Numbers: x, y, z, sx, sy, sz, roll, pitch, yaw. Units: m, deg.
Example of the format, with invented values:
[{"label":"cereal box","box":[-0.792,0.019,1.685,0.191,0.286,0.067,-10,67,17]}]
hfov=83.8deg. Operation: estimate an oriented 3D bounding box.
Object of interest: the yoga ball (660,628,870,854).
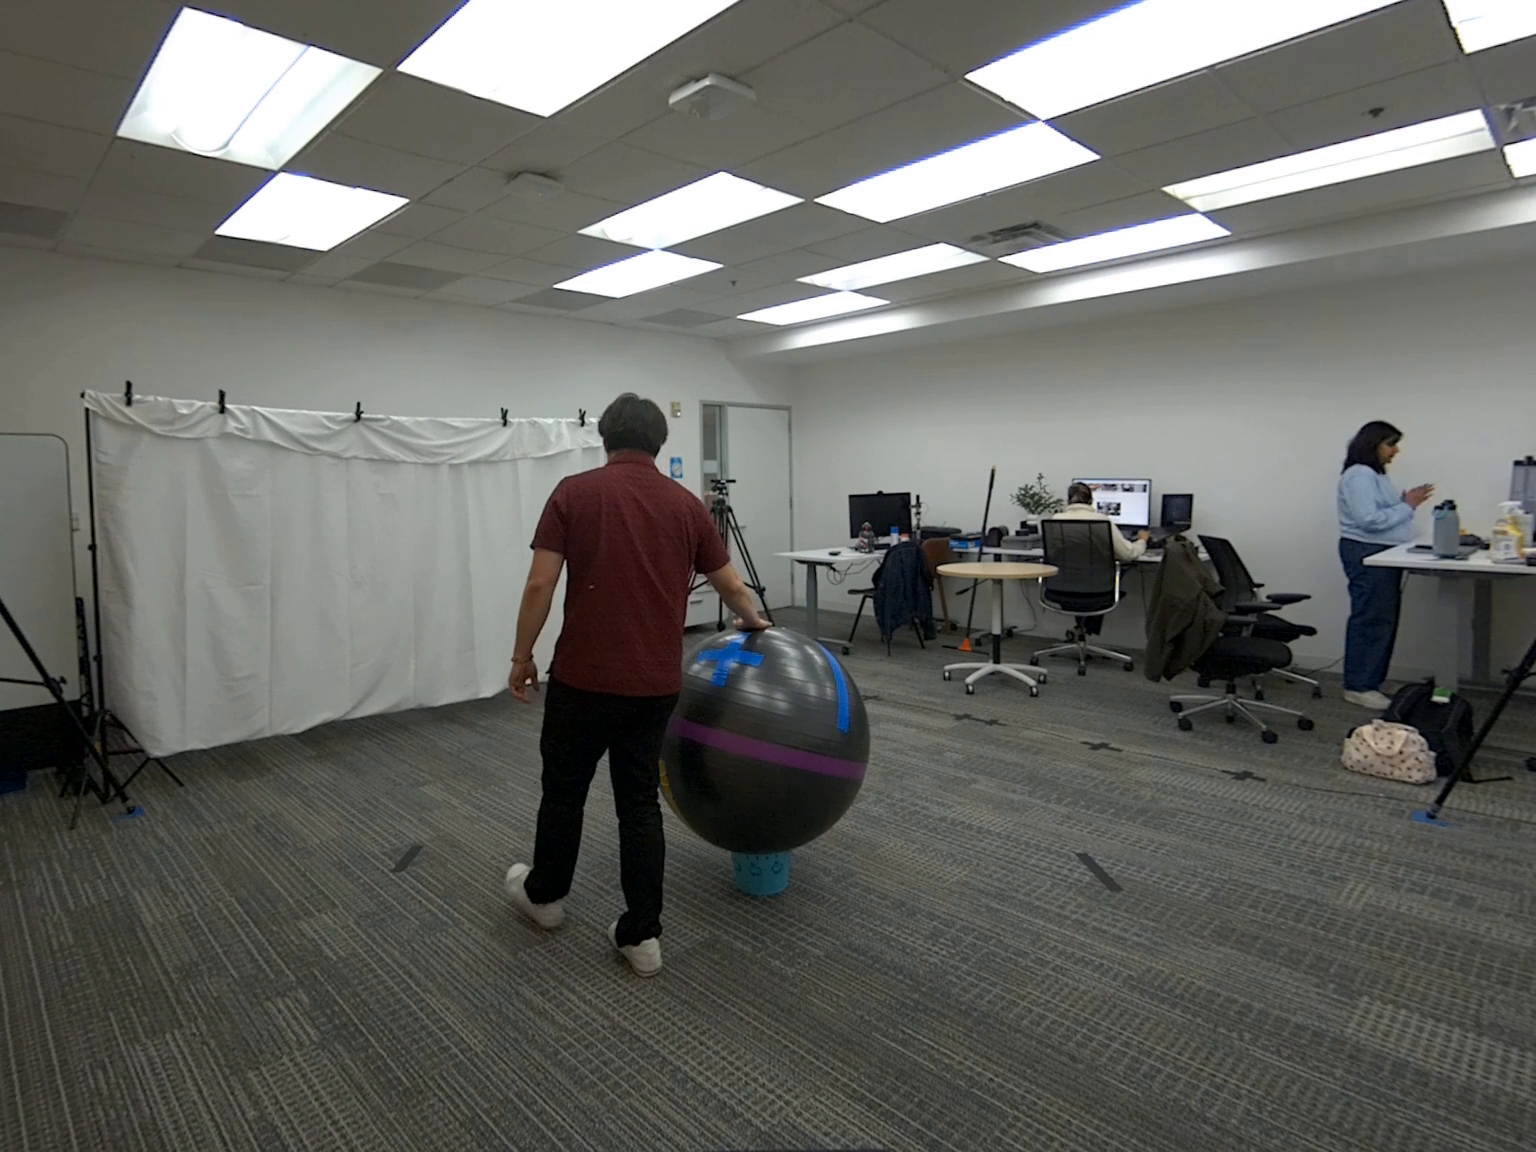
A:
[{"label":"yoga ball","box":[-0.028,0.558,2.943,0.757,0.755,0.762,-1,5,-2]}]
